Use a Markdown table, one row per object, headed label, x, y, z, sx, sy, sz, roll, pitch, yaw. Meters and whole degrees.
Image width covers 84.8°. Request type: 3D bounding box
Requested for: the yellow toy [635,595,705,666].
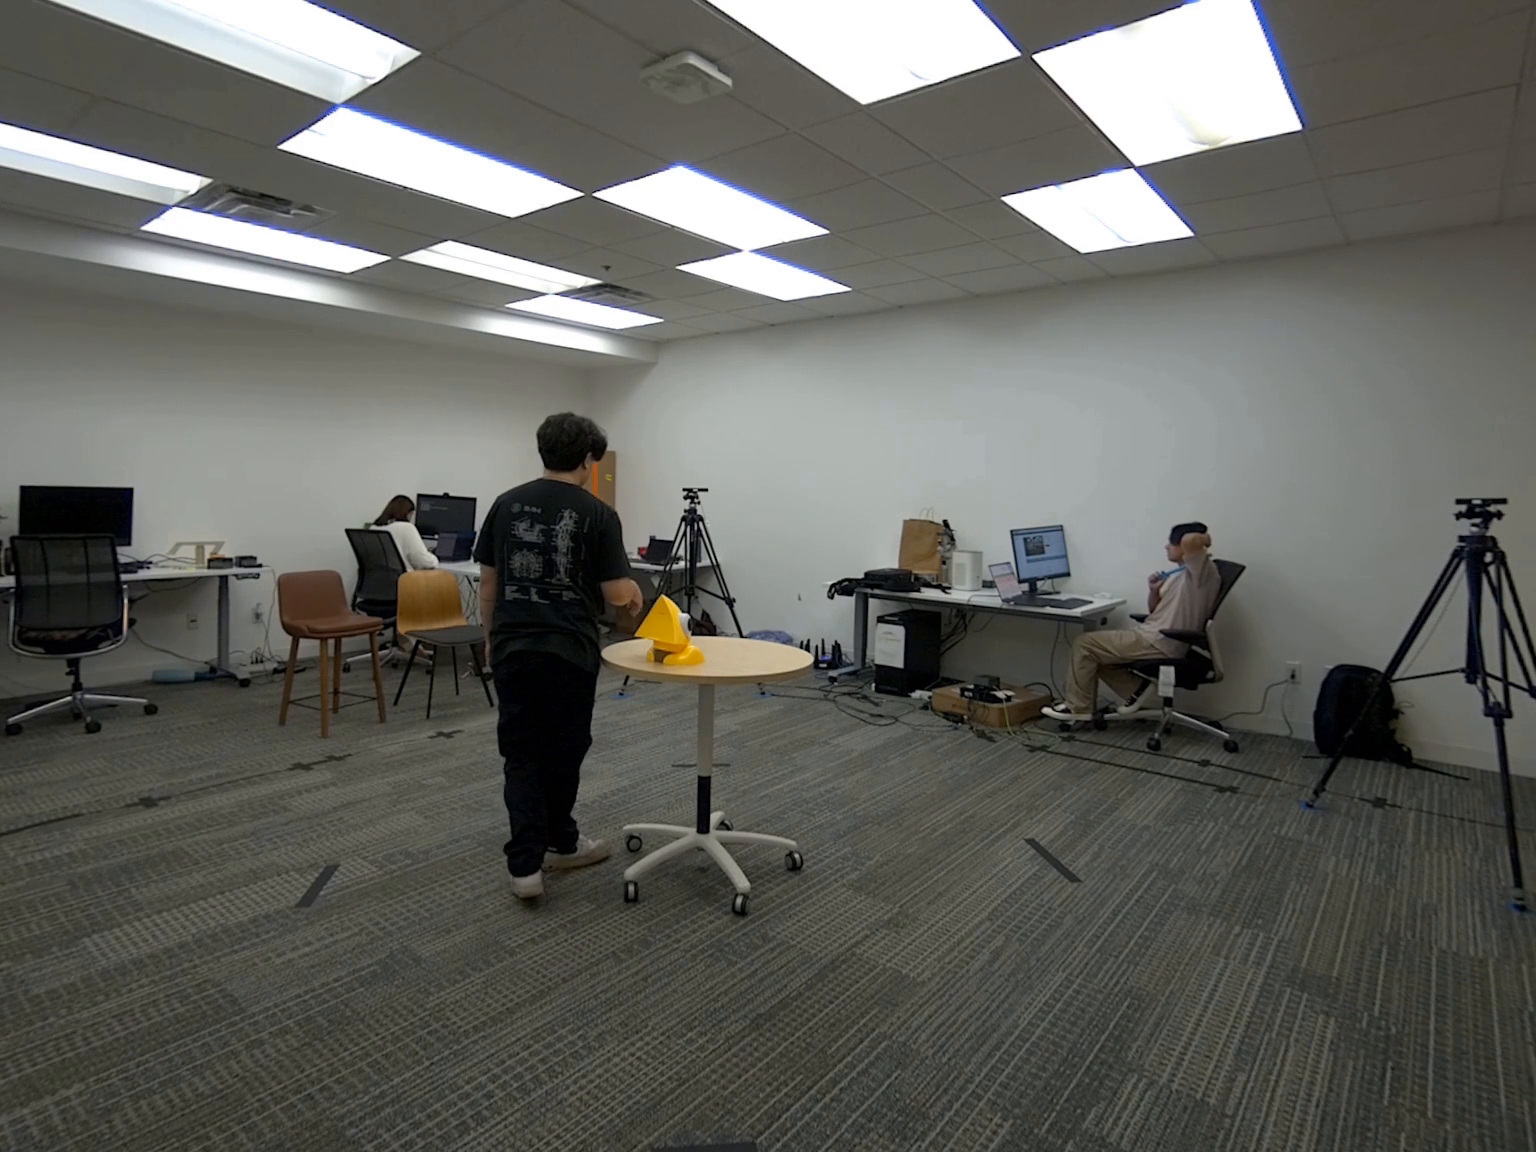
| label | x | y | z | sx | sy | sz | roll | pitch | yaw |
| --- | --- | --- | --- | --- | --- | --- | --- | --- | --- |
| yellow toy | -0.337 | 0.175 | 2.934 | 0.212 | 0.230 | 0.187 | 5 | 4 | 41 |
